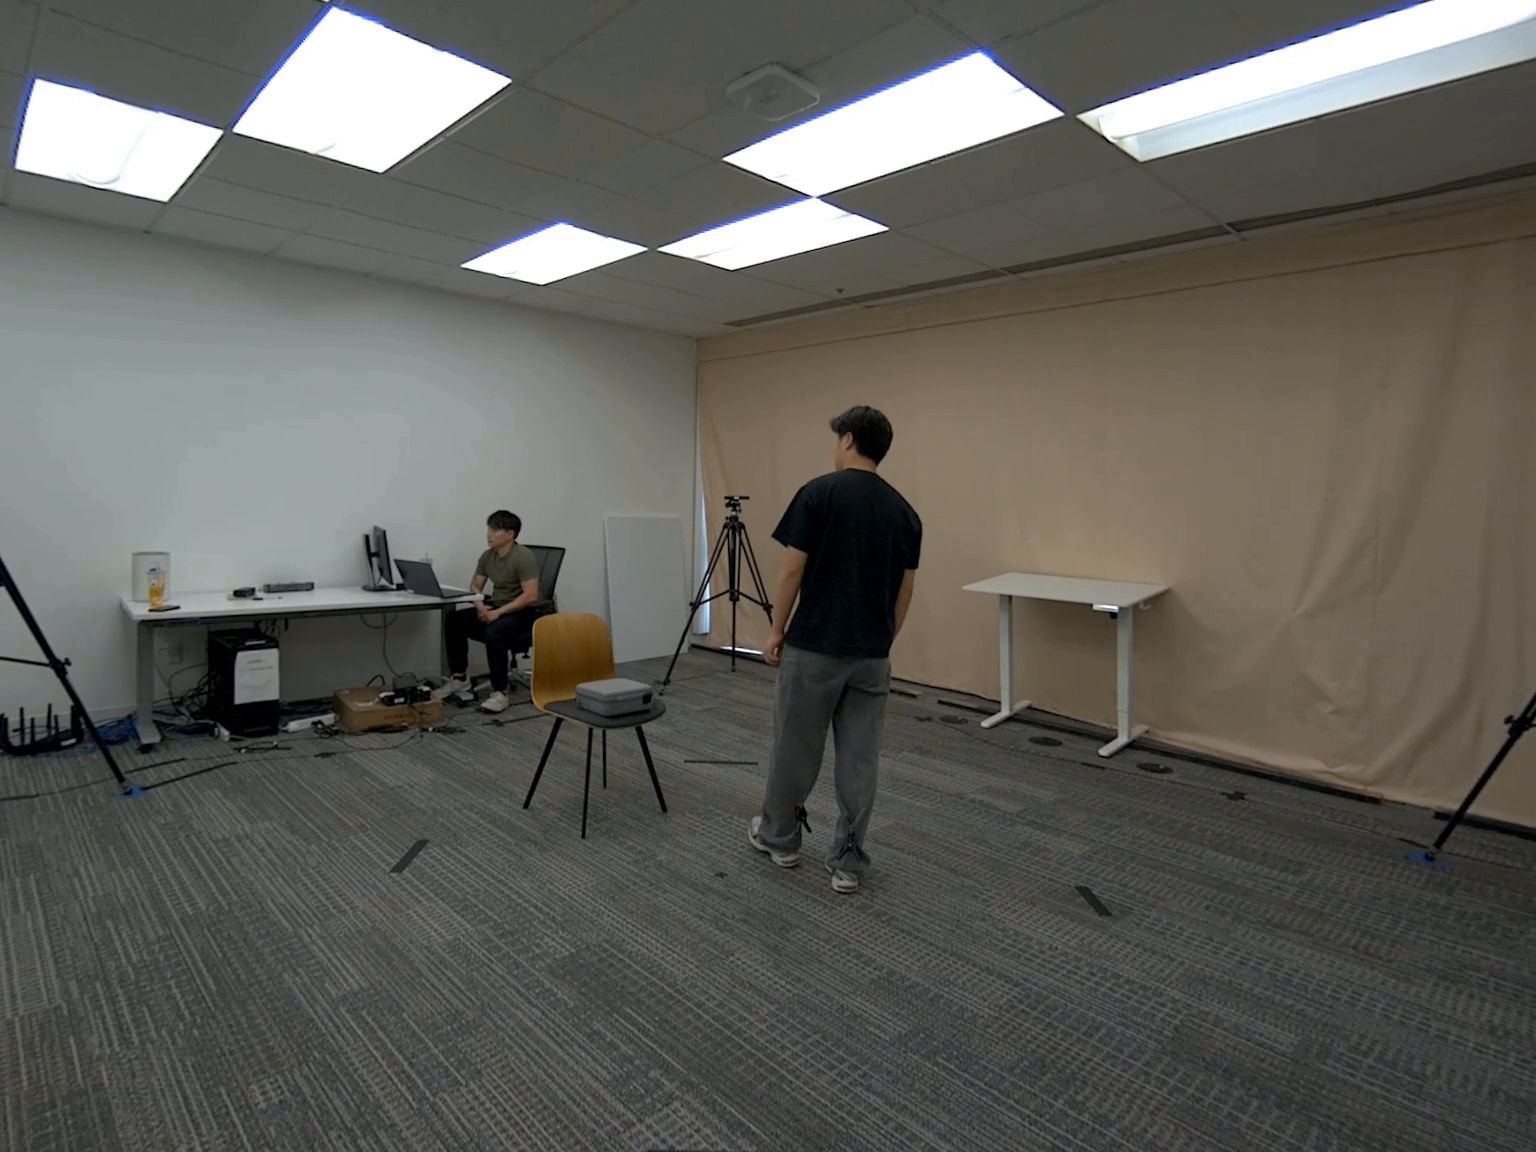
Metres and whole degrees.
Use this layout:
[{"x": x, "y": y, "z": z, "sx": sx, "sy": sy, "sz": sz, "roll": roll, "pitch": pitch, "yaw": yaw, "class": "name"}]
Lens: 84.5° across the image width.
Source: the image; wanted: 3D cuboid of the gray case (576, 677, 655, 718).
[{"x": -0.672, "y": 0.512, "z": 3.597, "sx": 0.257, "sy": 0.103, "sz": 0.294, "roll": -3, "pitch": 5, "yaw": -42, "class": "gray case"}]
